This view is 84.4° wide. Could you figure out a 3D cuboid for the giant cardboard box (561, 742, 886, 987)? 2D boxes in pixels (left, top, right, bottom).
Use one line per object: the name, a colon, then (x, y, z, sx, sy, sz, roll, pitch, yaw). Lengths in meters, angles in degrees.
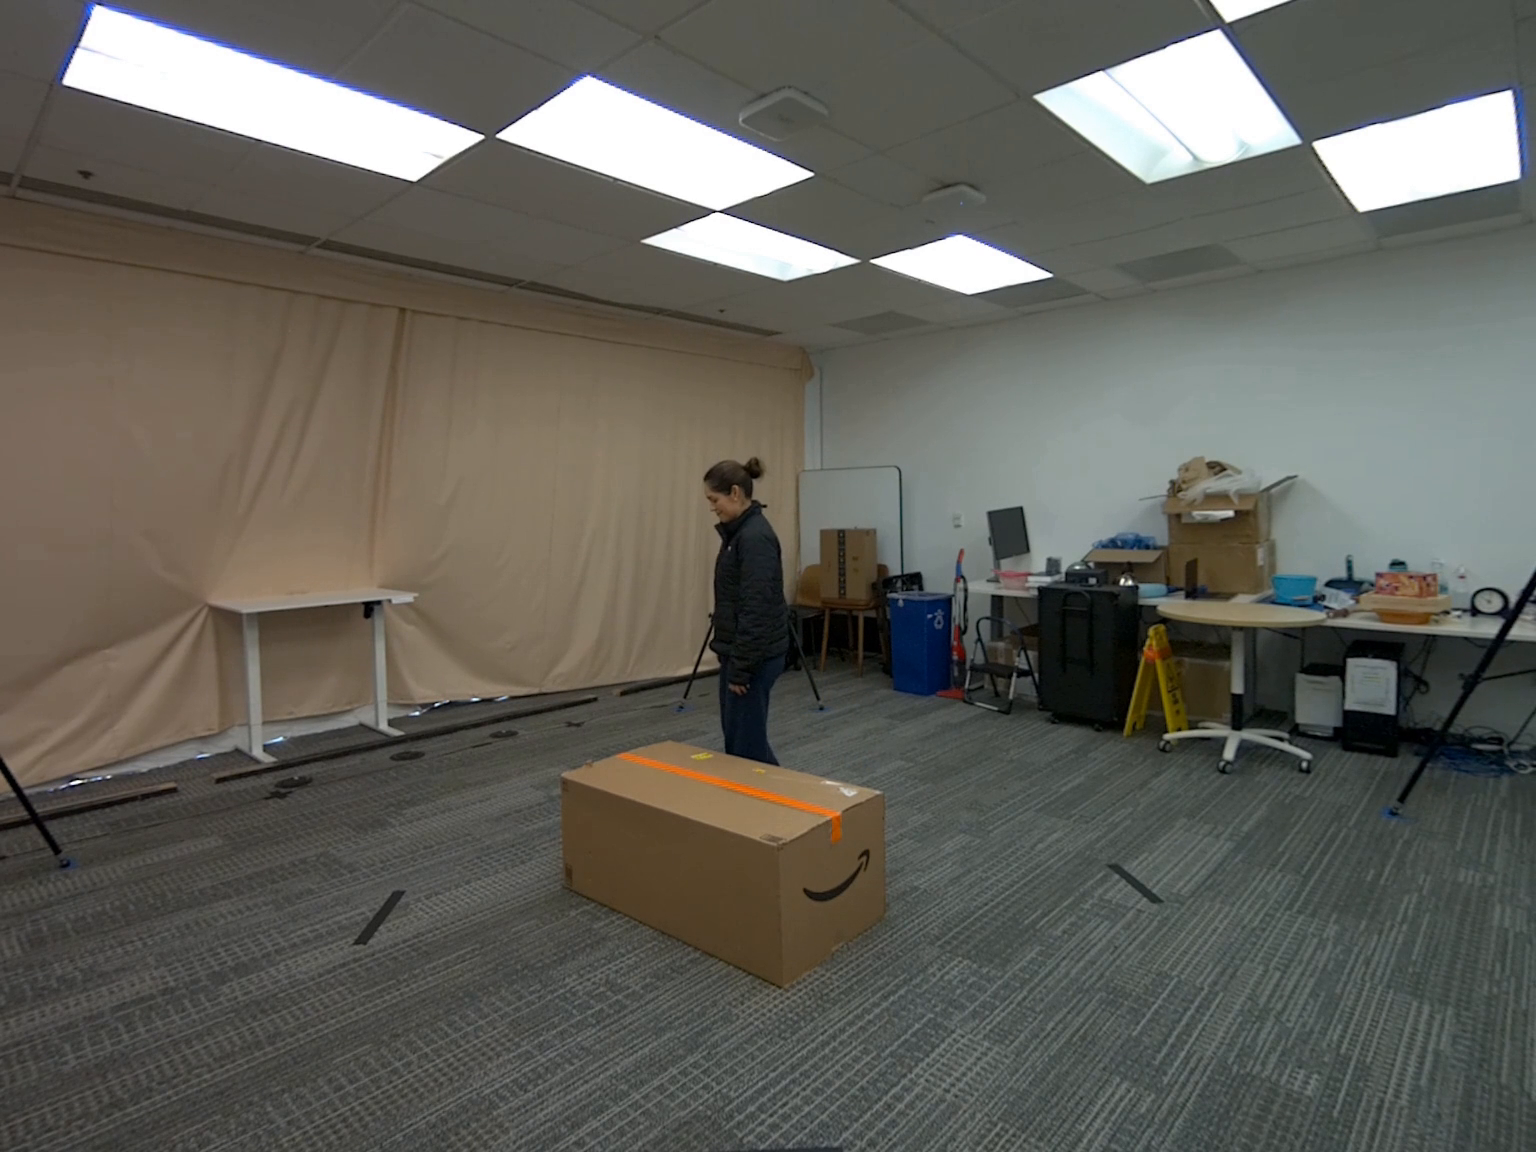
giant cardboard box: (-0.170, 0.932, 2.955, 1.059, 0.425, 0.560, 3, 5, 40)
